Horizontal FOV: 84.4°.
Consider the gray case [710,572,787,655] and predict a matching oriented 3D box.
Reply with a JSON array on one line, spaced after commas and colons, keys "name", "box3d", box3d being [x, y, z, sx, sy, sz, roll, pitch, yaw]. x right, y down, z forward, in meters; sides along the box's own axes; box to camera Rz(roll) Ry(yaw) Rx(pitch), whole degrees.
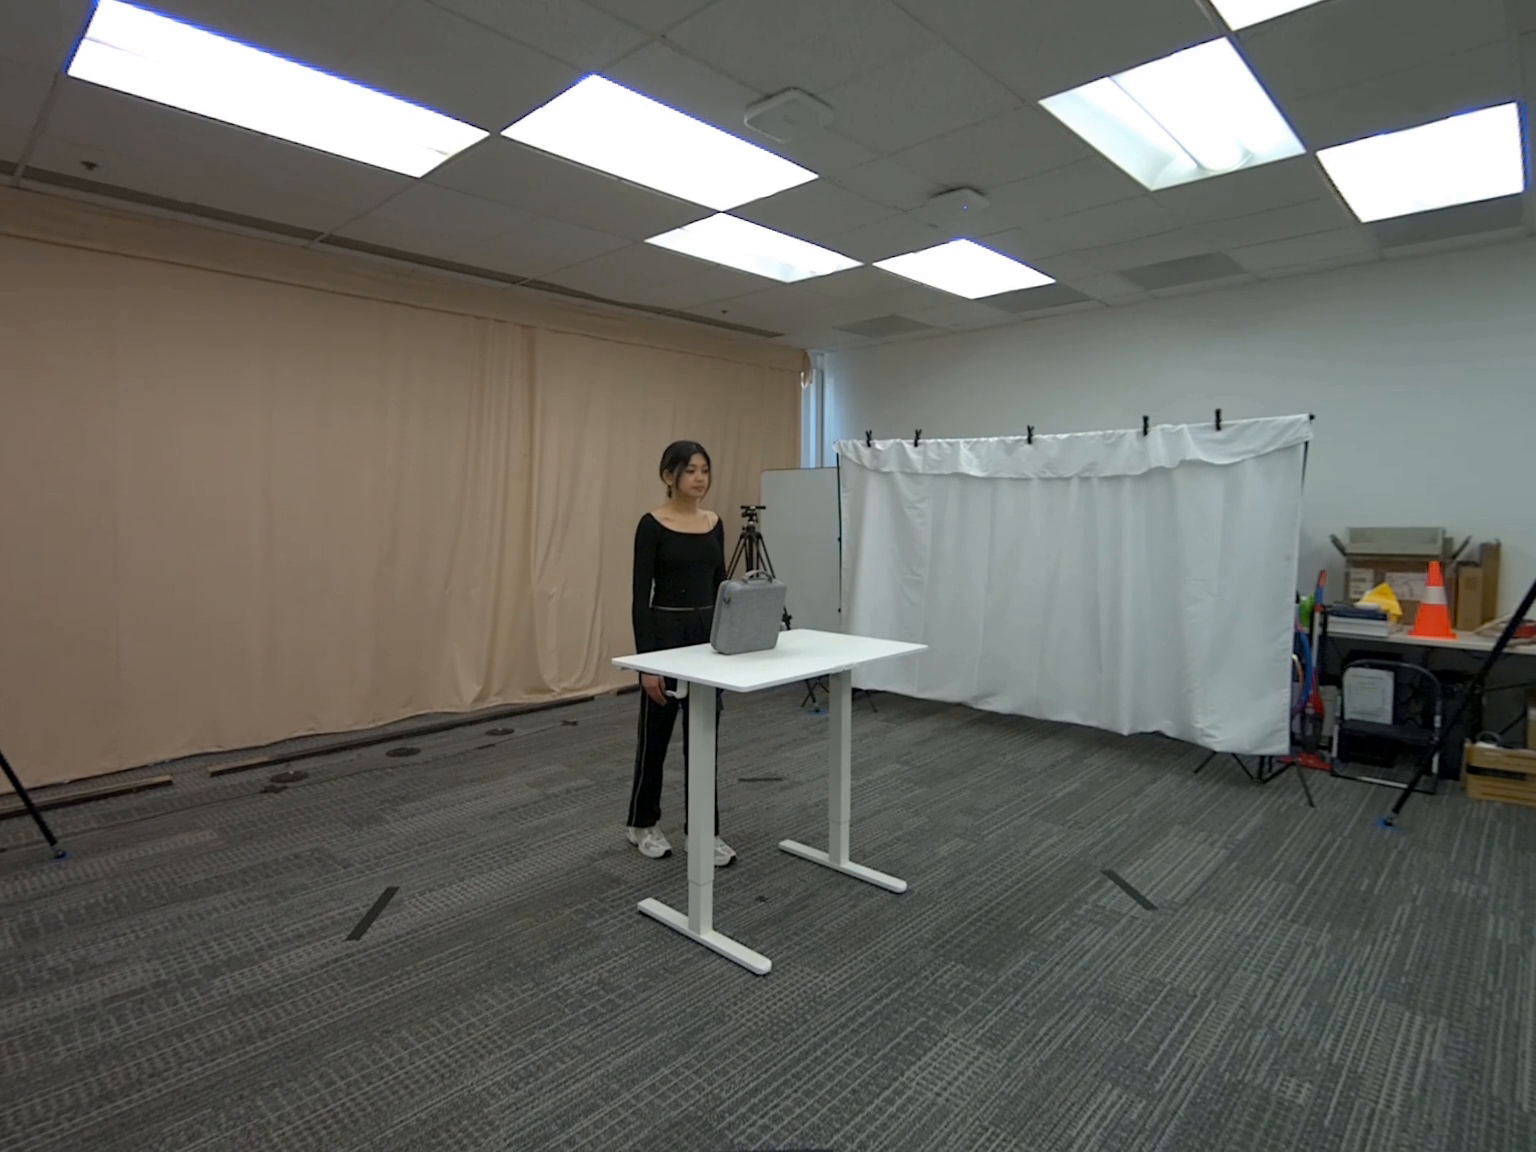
[{"name": "gray case", "box3d": [-0.063, 0.134, 2.932, 0.249, 0.259, 0.108, -3, 18, -40]}]
